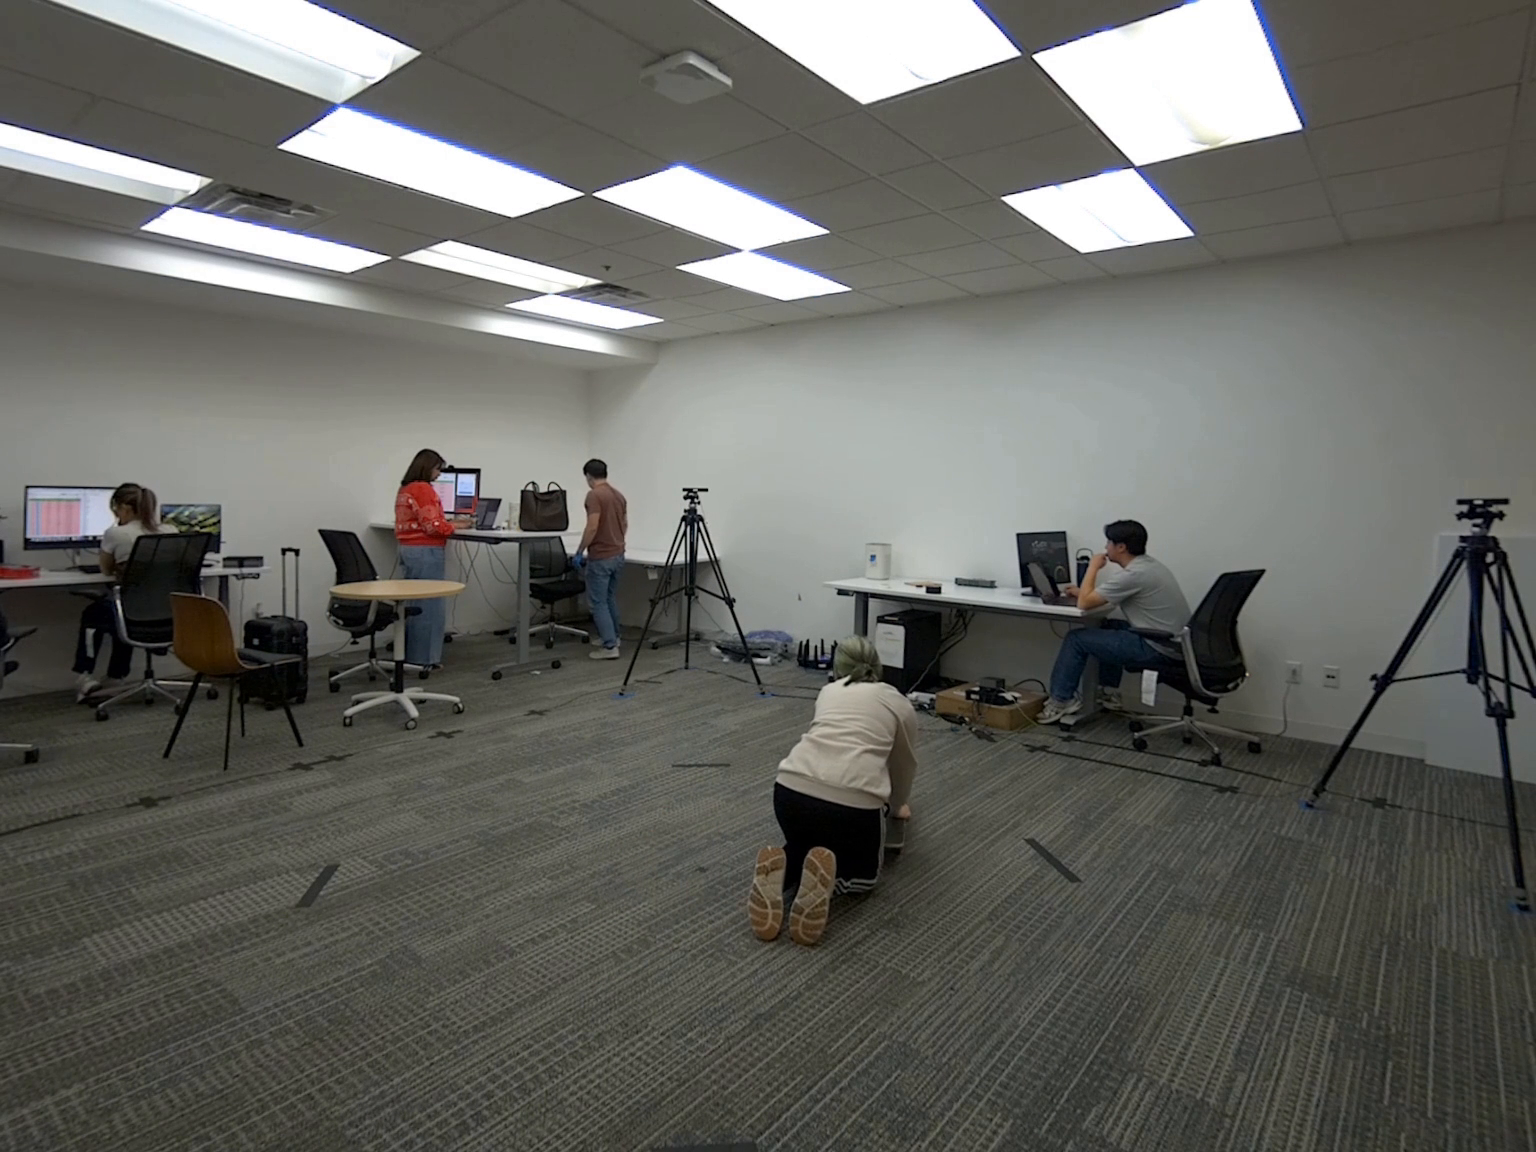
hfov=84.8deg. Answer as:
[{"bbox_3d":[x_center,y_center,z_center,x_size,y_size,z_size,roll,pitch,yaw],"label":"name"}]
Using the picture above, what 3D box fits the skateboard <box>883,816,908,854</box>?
[{"bbox_3d":[0.450,0.980,3.494,0.196,0.110,0.779,8,7,9],"label":"skateboard"}]
